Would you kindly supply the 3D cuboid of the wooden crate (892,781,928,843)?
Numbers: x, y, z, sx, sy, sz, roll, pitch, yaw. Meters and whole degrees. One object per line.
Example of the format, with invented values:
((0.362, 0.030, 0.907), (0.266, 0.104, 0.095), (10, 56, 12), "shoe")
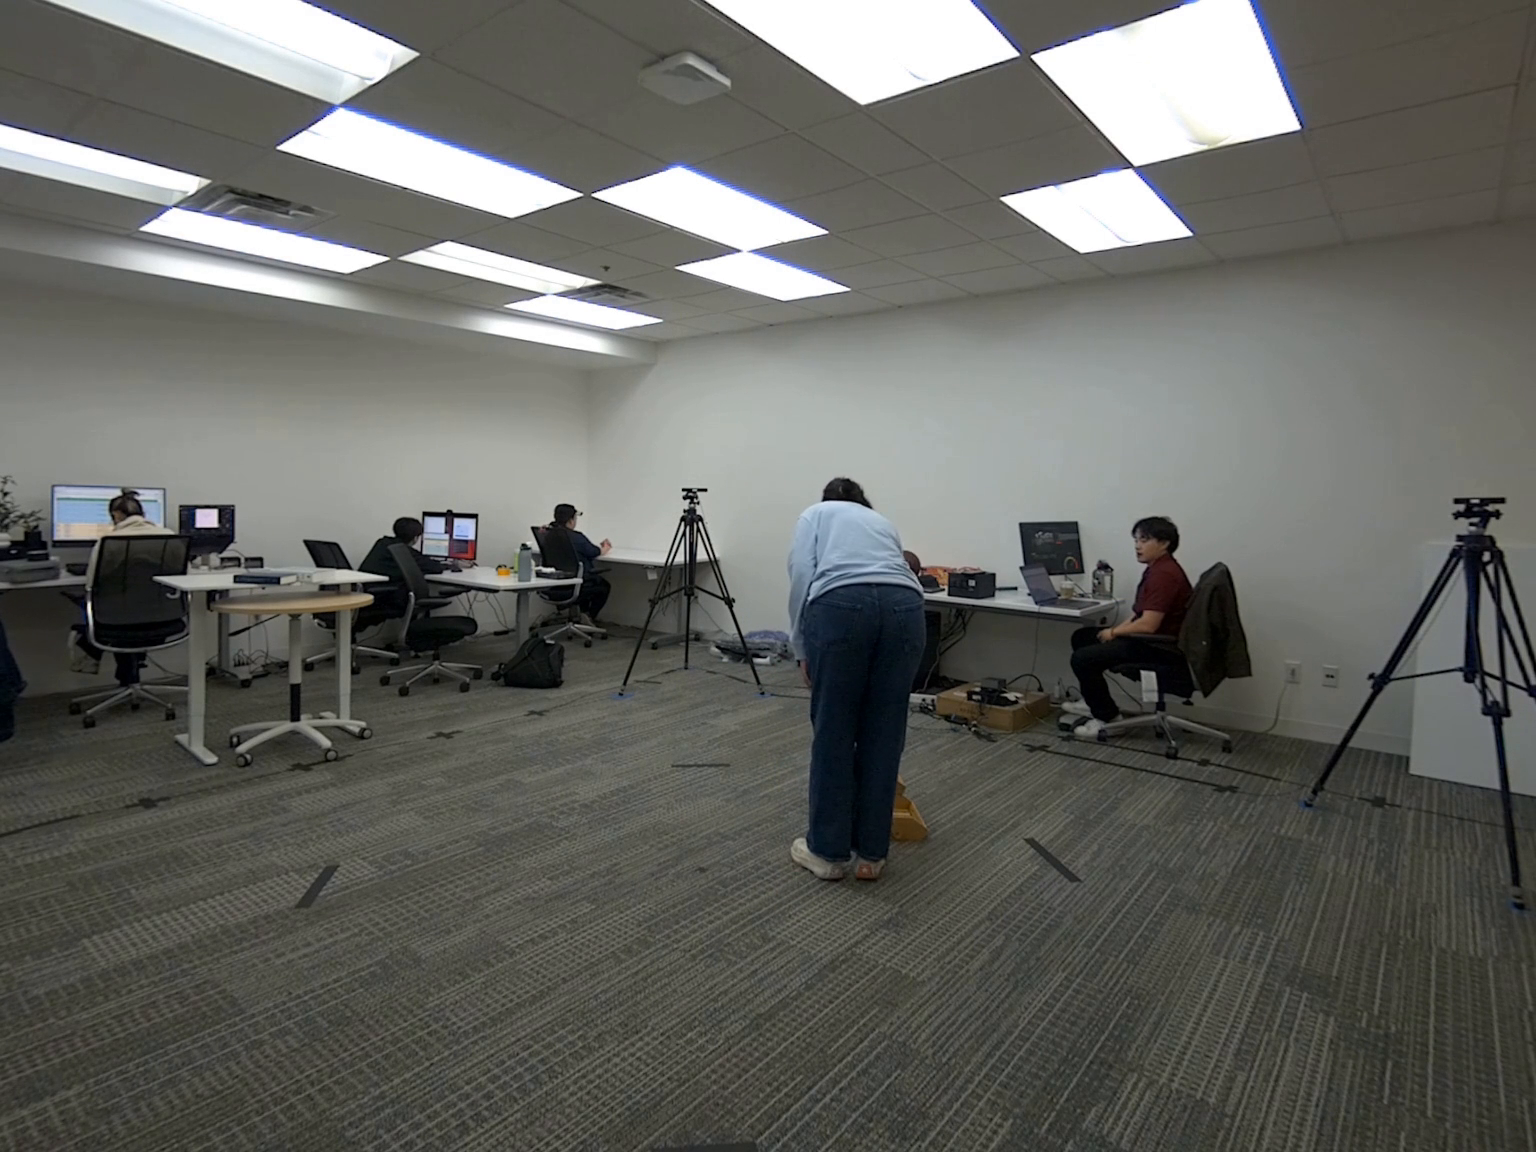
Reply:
((0.487, 0.906, 3.559), (0.302, 0.272, 0.325), (1, 4, 0), "wooden crate")
